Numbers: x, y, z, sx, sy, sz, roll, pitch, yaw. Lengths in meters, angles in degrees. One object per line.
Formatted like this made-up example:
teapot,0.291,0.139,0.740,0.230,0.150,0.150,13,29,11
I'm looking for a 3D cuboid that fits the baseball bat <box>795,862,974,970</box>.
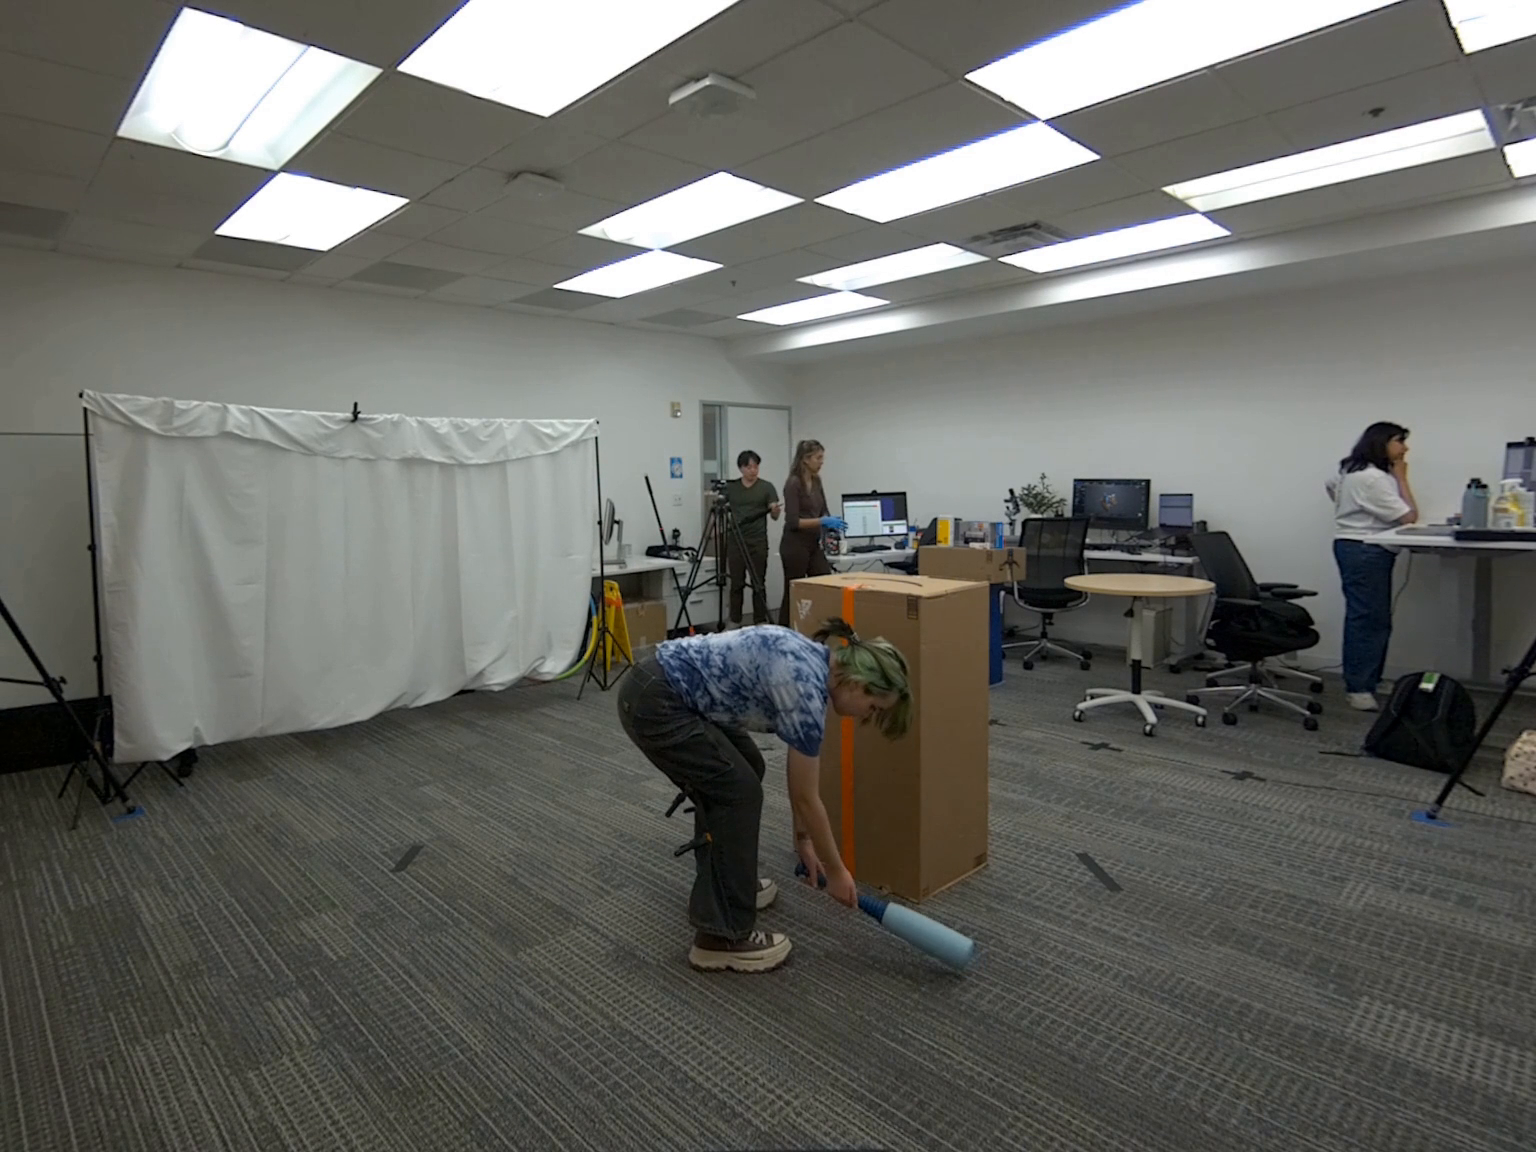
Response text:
baseball bat,0.336,0.966,2.504,0.559,0.088,0.087,19,13,26
